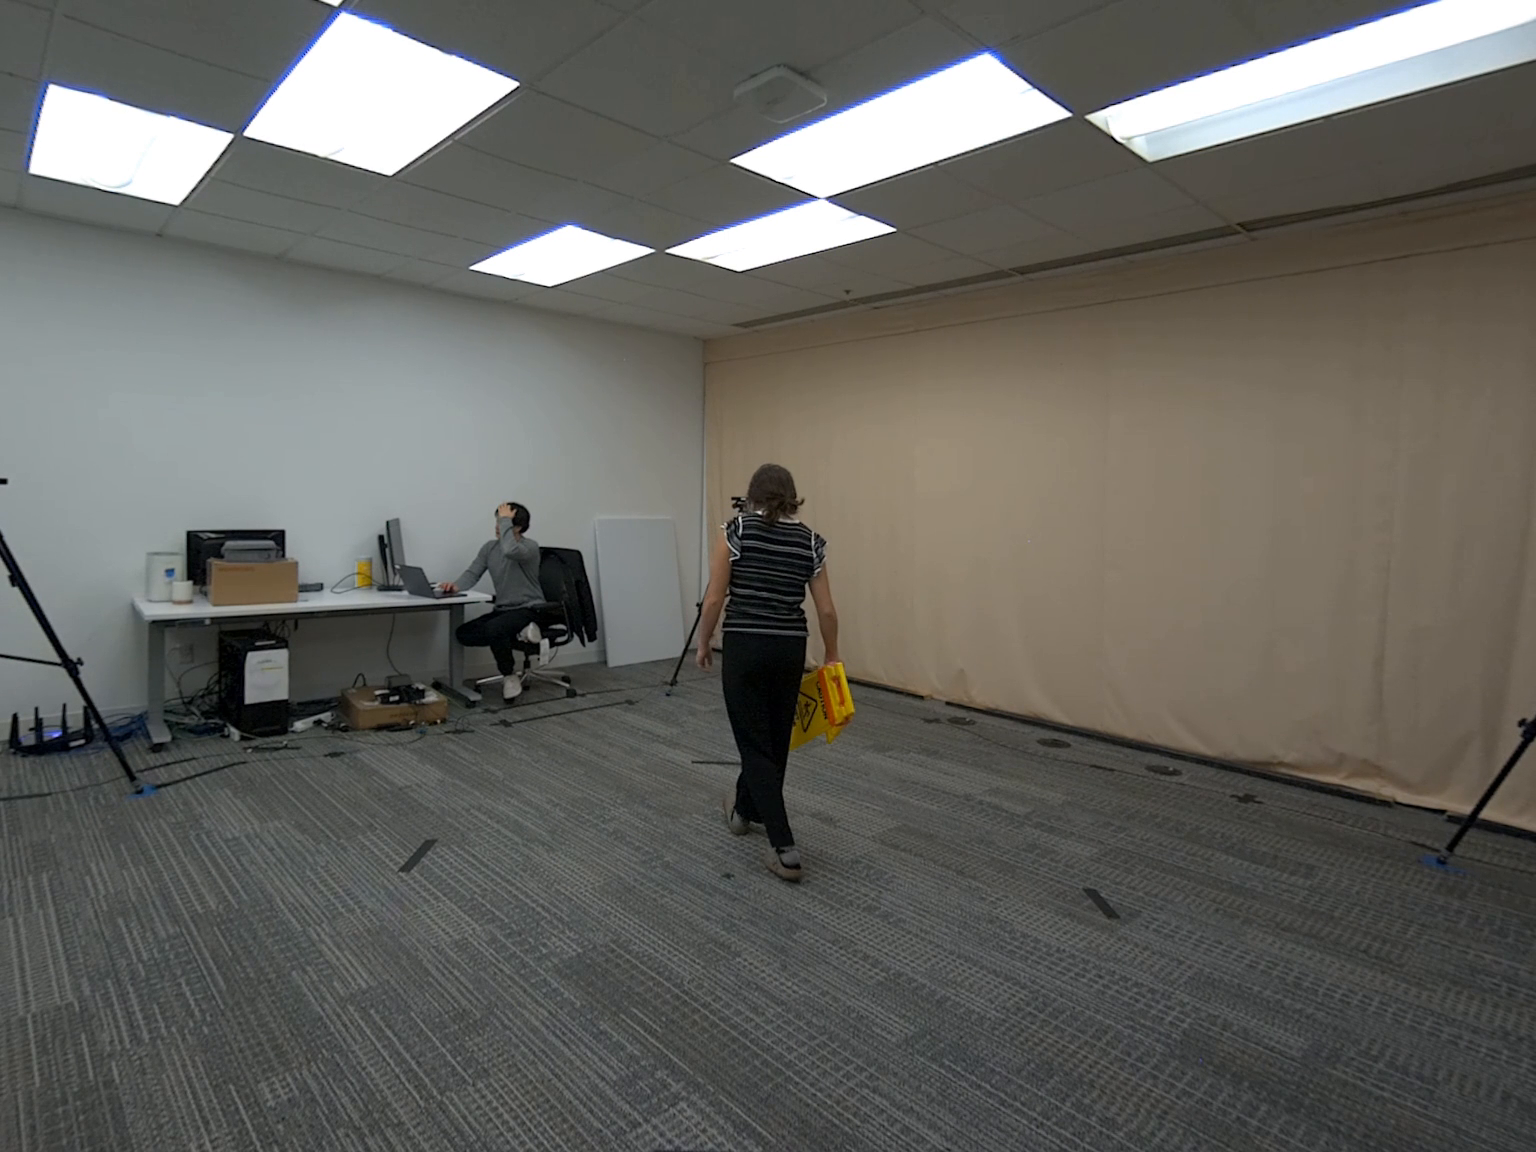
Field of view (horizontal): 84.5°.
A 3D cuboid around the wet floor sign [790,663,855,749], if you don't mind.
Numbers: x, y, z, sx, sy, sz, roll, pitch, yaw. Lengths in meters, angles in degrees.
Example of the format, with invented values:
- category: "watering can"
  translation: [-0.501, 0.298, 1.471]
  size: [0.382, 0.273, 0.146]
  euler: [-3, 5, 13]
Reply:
- category: "wet floor sign"
  translation: [0.214, 0.519, 3.440]
  size: [0.286, 0.287, 0.643]
  euler: [-6, -19, -19]
